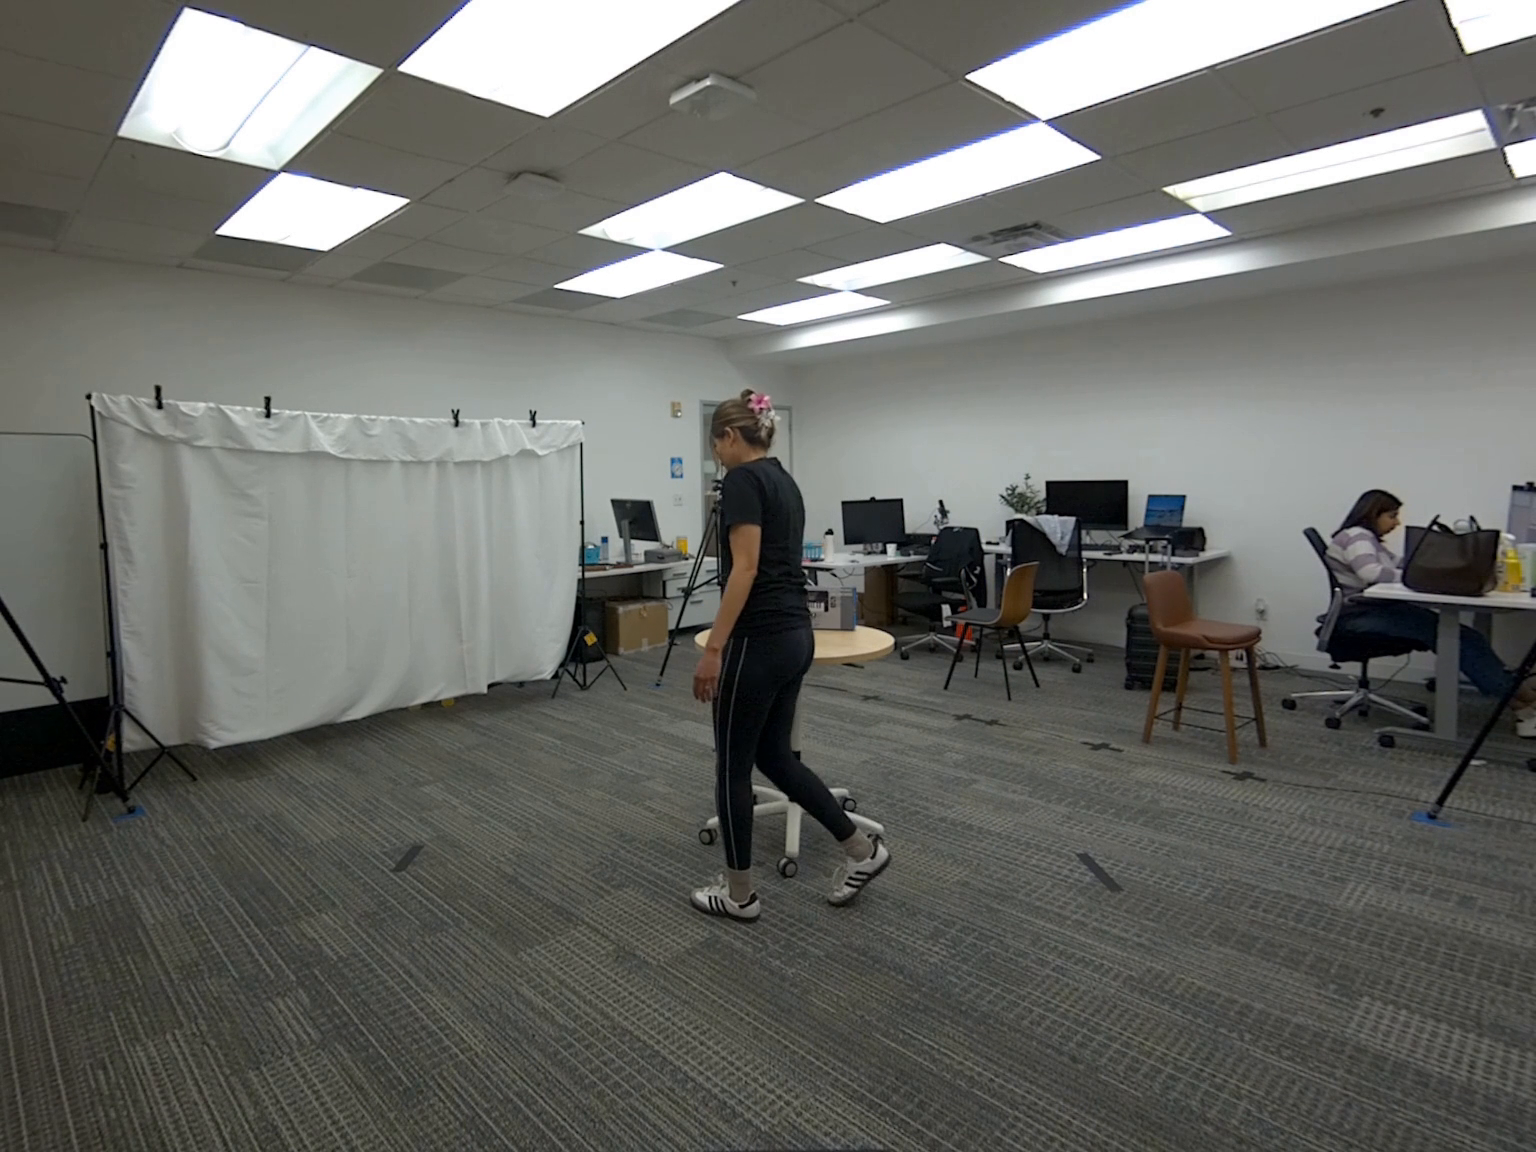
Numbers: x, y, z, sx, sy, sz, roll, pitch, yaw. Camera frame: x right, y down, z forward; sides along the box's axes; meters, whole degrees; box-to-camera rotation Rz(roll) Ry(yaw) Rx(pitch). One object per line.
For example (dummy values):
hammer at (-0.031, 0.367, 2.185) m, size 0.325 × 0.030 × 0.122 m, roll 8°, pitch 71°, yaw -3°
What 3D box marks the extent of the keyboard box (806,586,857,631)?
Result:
keyboard box at (0.144, 0.129, 3.510) m, size 0.444 × 0.176 × 0.058 m, roll 1°, pitch 0°, yaw 16°
